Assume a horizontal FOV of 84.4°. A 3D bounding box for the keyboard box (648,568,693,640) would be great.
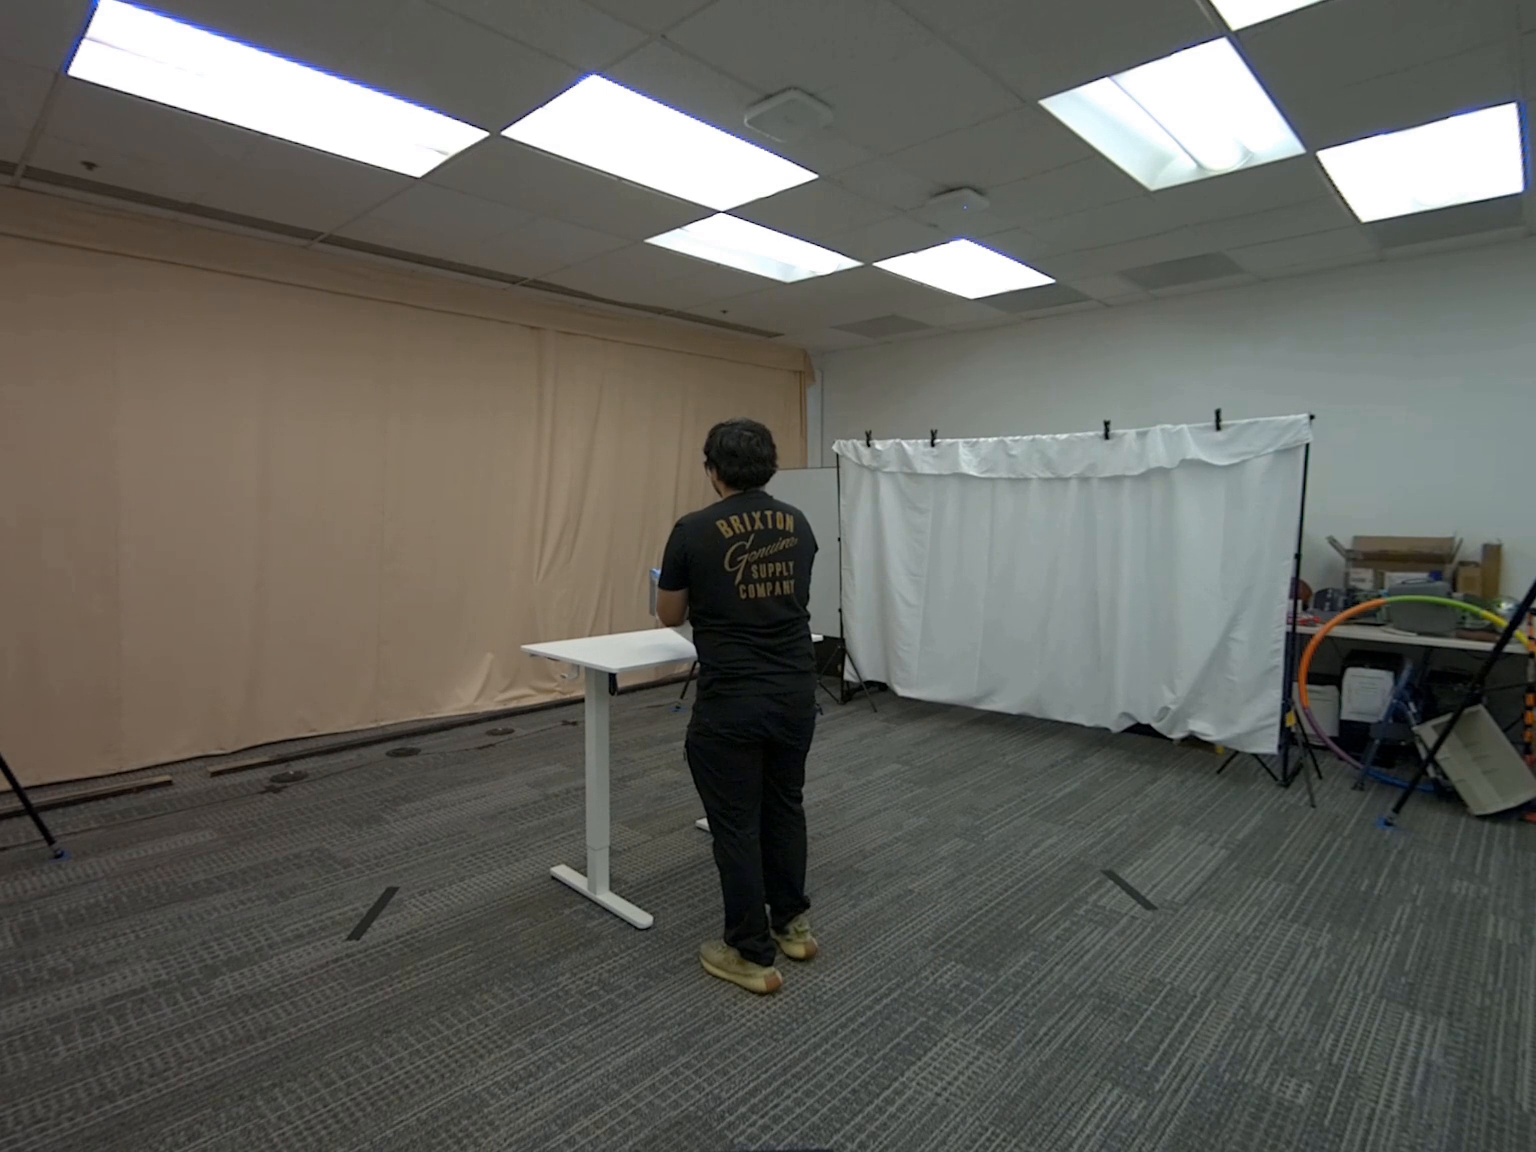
[{"bbox_3d":[-0.299,0.108,2.915,0.057,0.174,0.451,-5,16,-29],"label":"keyboard box"}]
